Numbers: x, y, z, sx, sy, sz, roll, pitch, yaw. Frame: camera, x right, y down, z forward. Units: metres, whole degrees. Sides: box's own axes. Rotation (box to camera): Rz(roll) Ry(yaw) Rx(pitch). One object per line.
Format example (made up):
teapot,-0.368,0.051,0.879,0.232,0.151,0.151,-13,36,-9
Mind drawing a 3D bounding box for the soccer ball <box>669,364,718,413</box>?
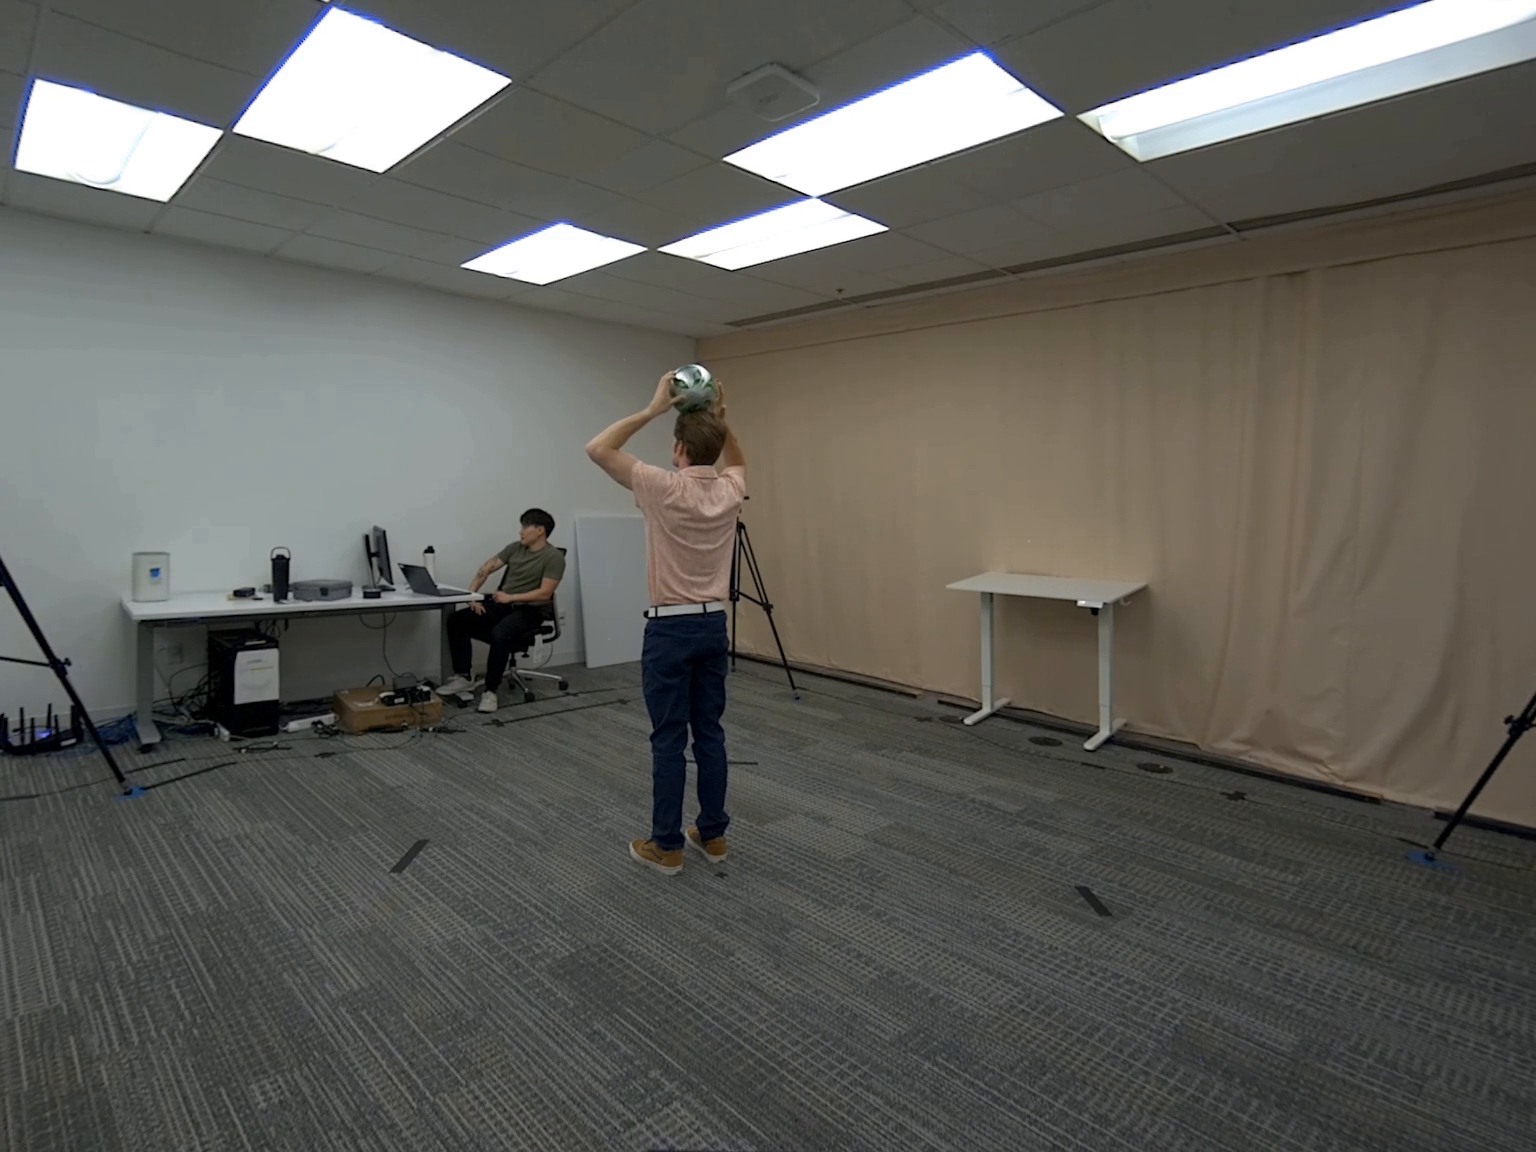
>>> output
soccer ball,-0.291,-0.697,3.160,0.187,0.187,0.188,1,4,-1
